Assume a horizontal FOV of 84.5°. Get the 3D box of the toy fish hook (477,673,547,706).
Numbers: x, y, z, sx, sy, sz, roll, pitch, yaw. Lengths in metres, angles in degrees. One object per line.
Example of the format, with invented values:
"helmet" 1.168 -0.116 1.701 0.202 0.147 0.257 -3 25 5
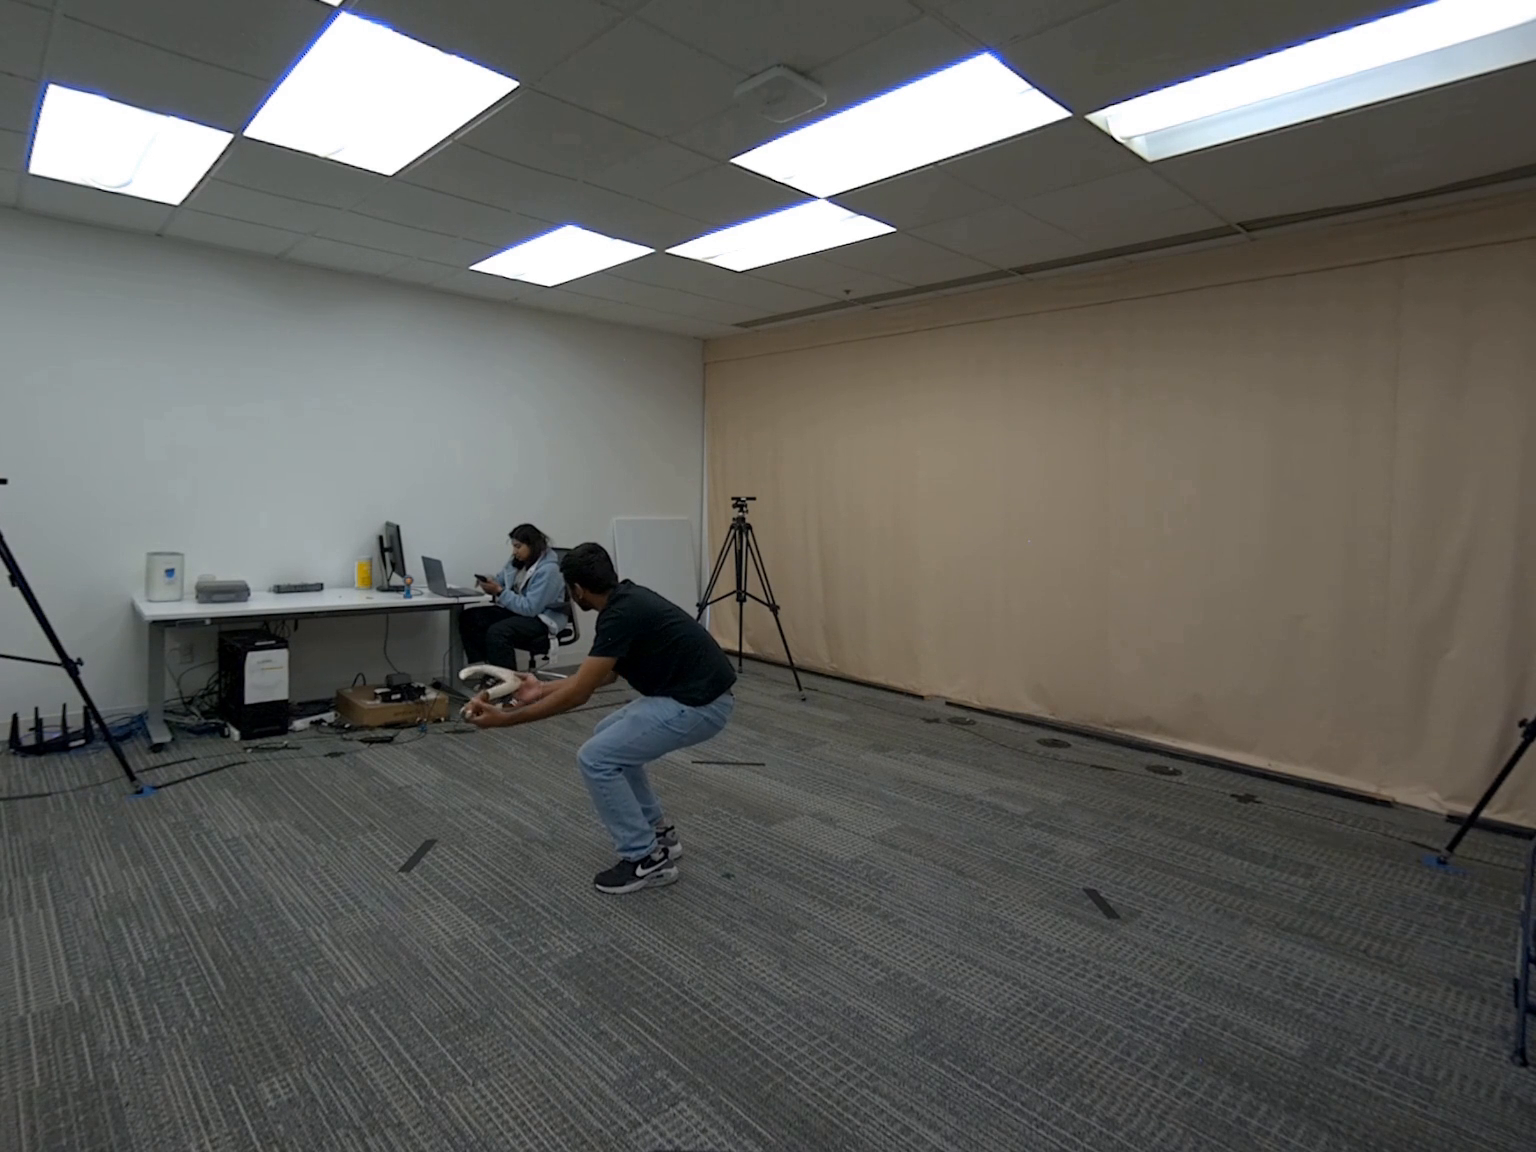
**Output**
"toy fish hook" -1.046 0.424 3.108 0.226 0.048 0.506 13 9 4
